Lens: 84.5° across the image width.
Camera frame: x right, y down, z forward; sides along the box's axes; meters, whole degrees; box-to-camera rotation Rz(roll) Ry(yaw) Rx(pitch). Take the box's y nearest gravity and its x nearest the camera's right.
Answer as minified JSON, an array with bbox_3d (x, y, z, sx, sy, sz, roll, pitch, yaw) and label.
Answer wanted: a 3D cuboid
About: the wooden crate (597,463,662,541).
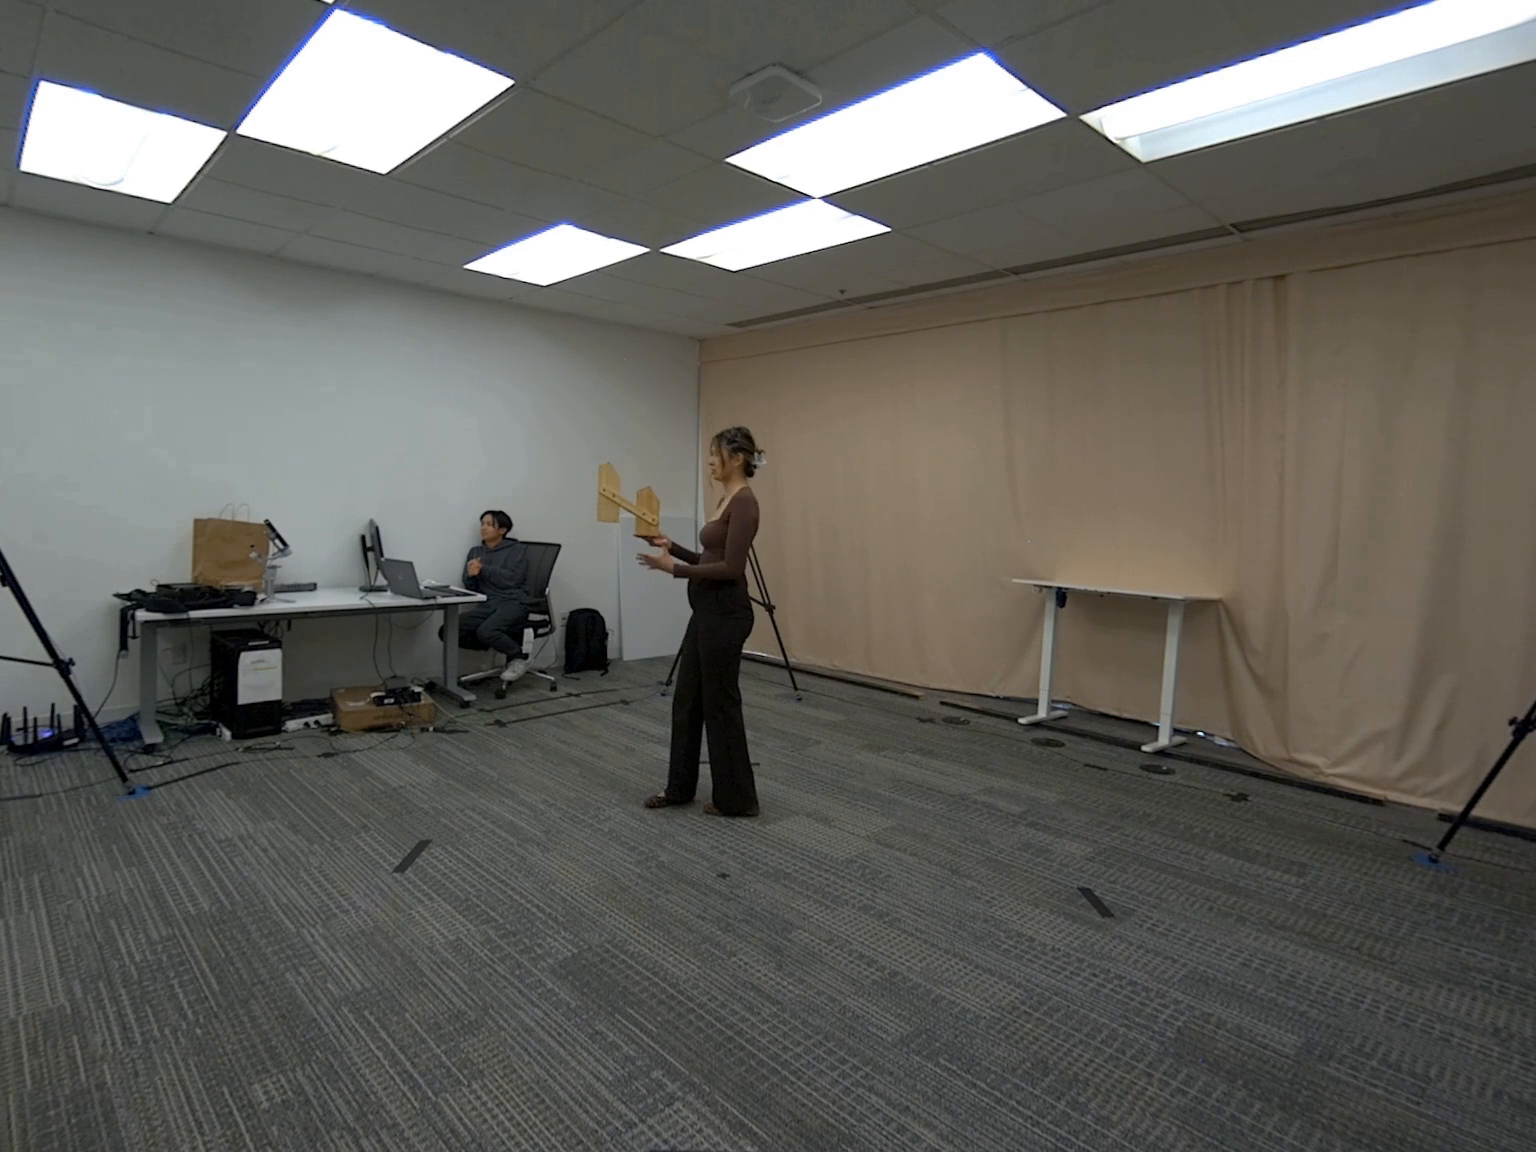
[{"bbox_3d":[-0.612,-0.334,3.671,0.271,0.301,0.327,2,3,-9],"label":"wooden crate"}]
